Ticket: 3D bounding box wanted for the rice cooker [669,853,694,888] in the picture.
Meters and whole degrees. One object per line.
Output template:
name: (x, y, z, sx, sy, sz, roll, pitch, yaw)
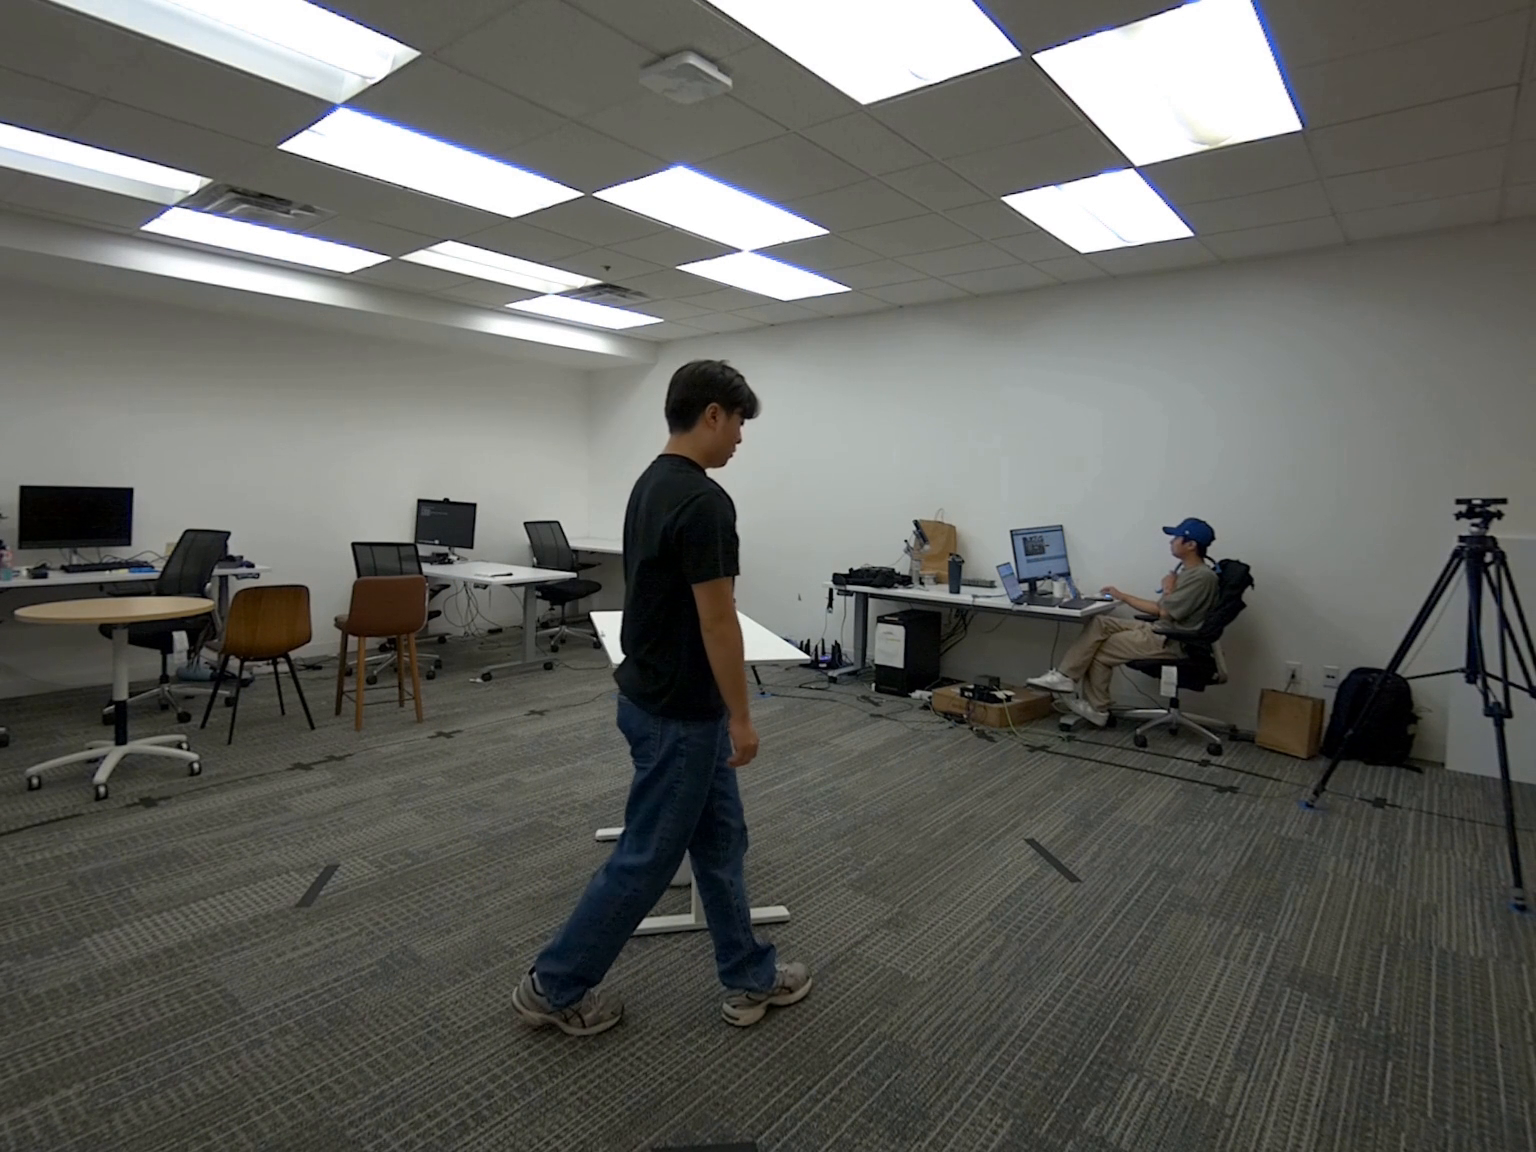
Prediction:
rice cooker: (-0.336, 0.950, 3.039, 0.219, 0.232, 0.220, 0, 3, 6)
